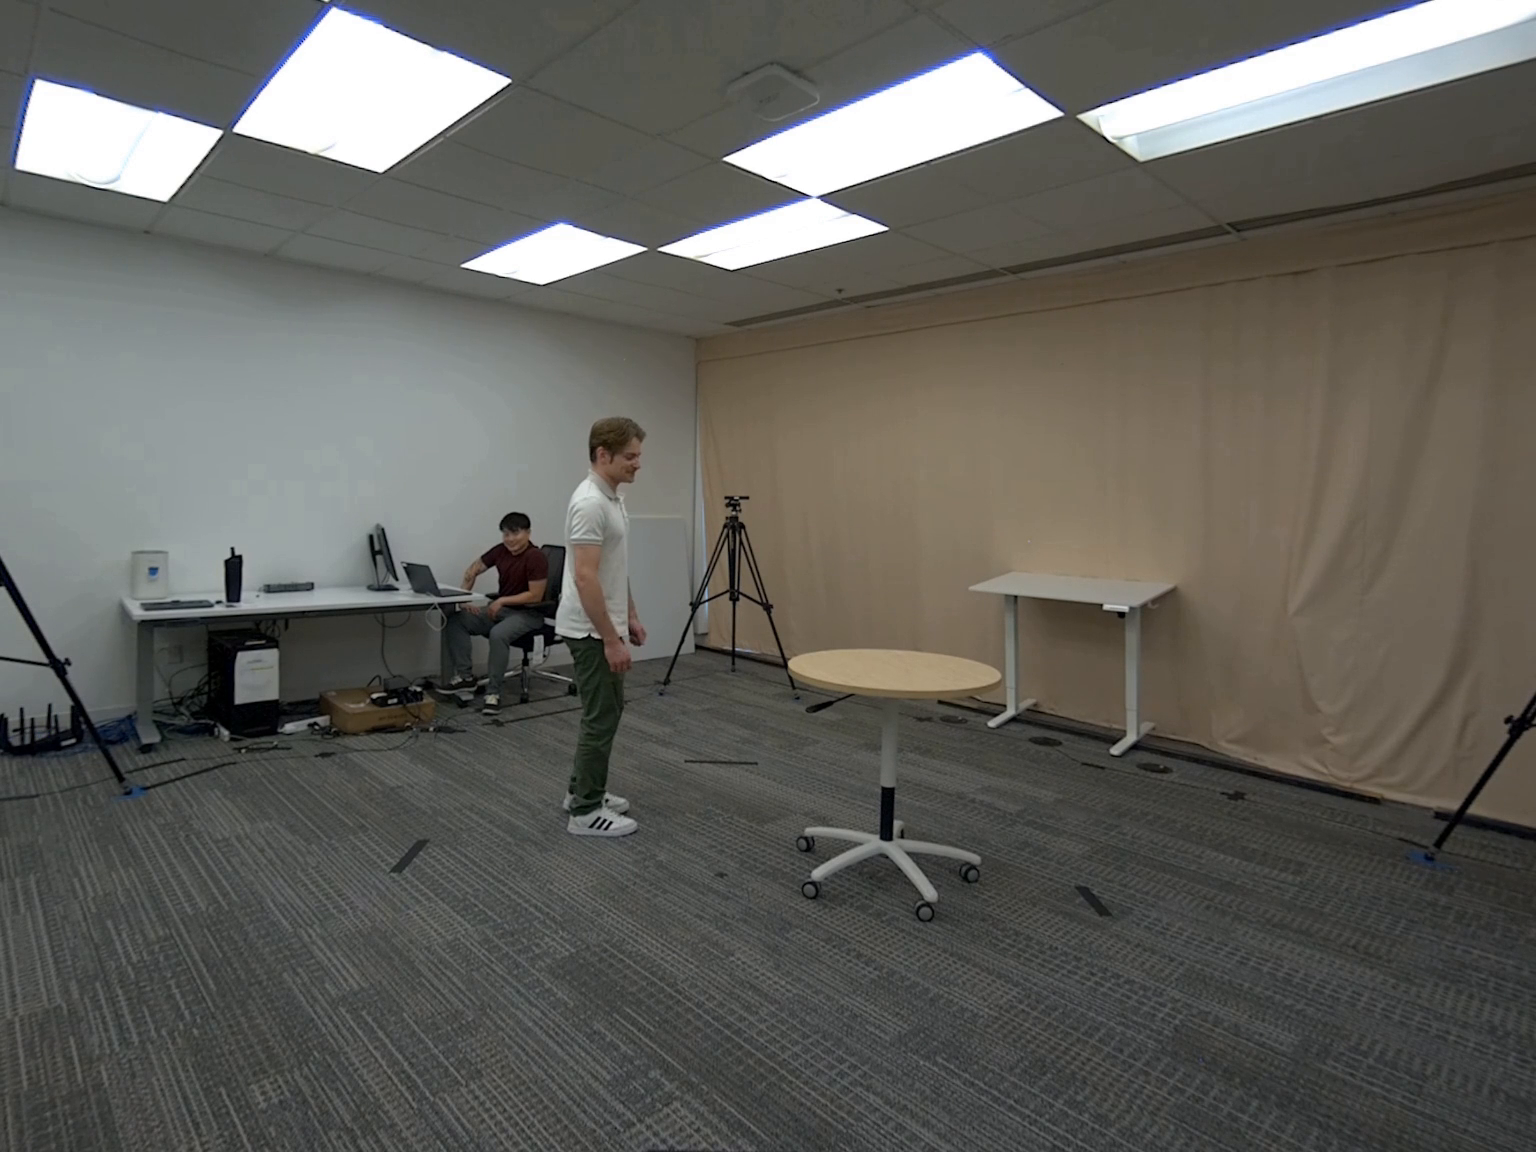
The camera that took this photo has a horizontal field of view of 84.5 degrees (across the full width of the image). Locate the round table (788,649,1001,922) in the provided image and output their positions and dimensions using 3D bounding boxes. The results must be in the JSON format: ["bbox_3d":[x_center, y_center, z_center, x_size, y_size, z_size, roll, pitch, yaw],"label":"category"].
[{"bbox_3d":[0.436,0.729,3.103,0.763,0.792,0.766,1,4,-1],"label":"round table"}]
